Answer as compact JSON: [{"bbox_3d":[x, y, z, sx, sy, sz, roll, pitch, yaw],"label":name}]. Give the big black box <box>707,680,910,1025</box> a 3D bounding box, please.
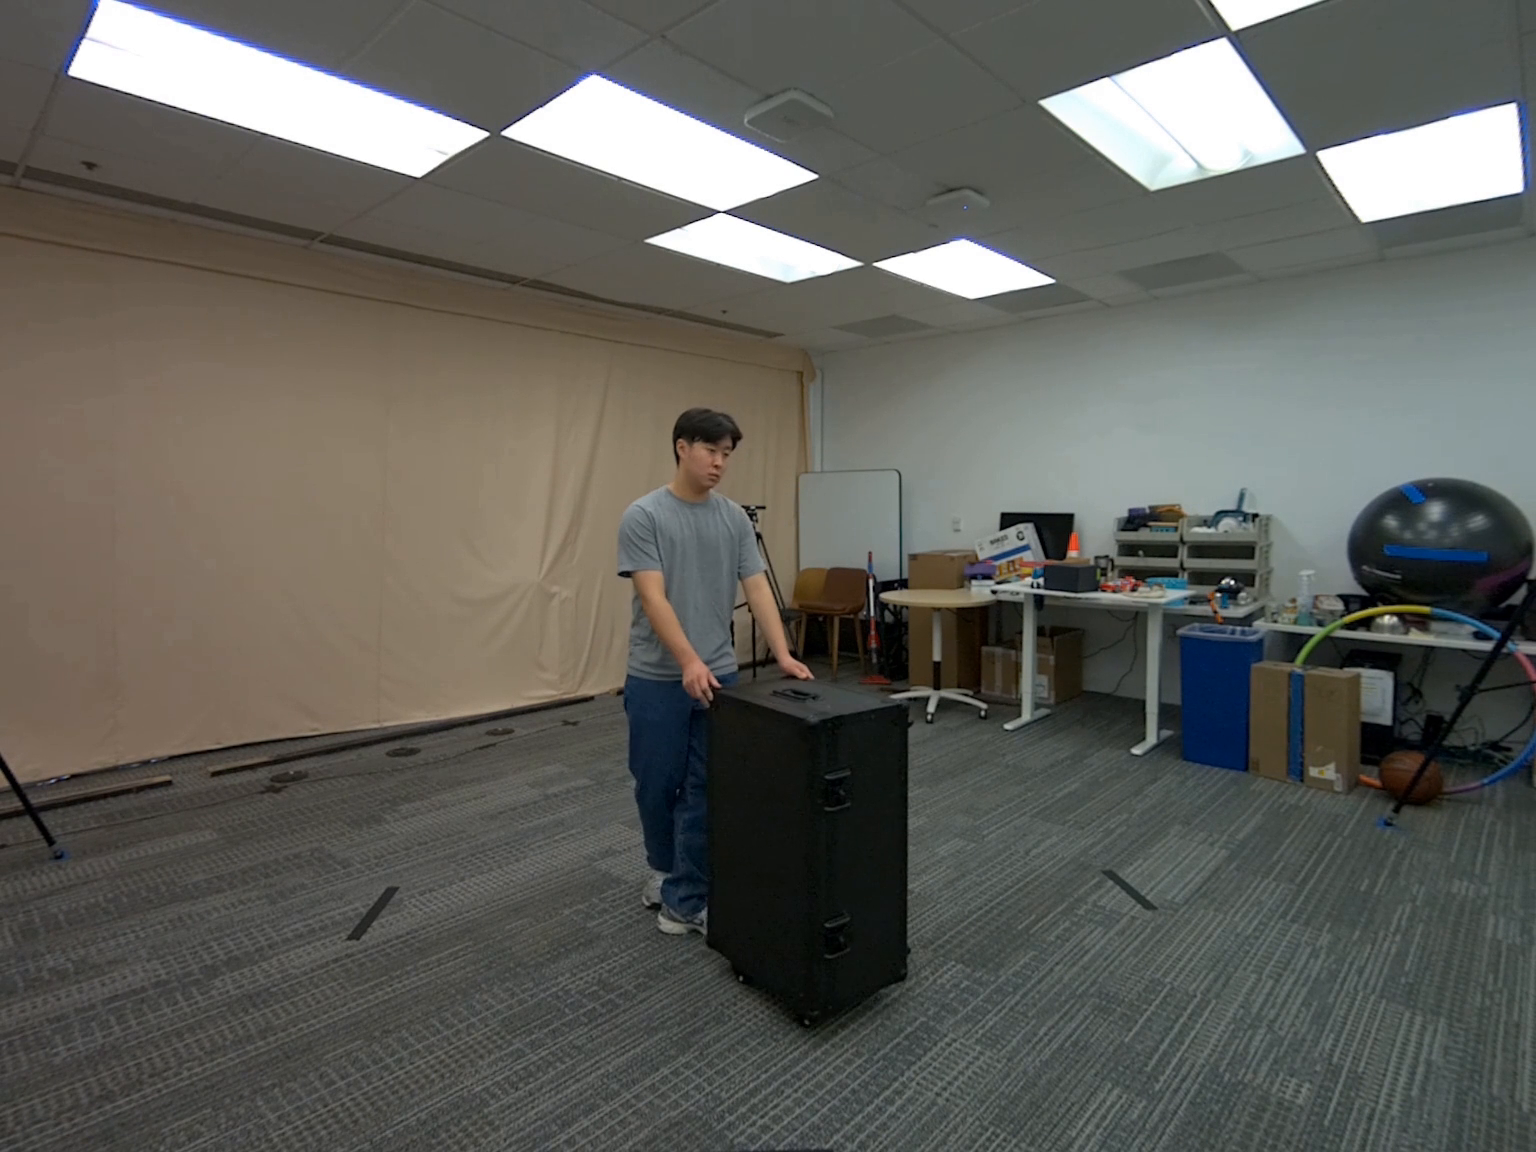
[{"bbox_3d":[0.117,0.764,2.433,0.384,0.860,0.538,-2,3,-37],"label":"big black box"}]
